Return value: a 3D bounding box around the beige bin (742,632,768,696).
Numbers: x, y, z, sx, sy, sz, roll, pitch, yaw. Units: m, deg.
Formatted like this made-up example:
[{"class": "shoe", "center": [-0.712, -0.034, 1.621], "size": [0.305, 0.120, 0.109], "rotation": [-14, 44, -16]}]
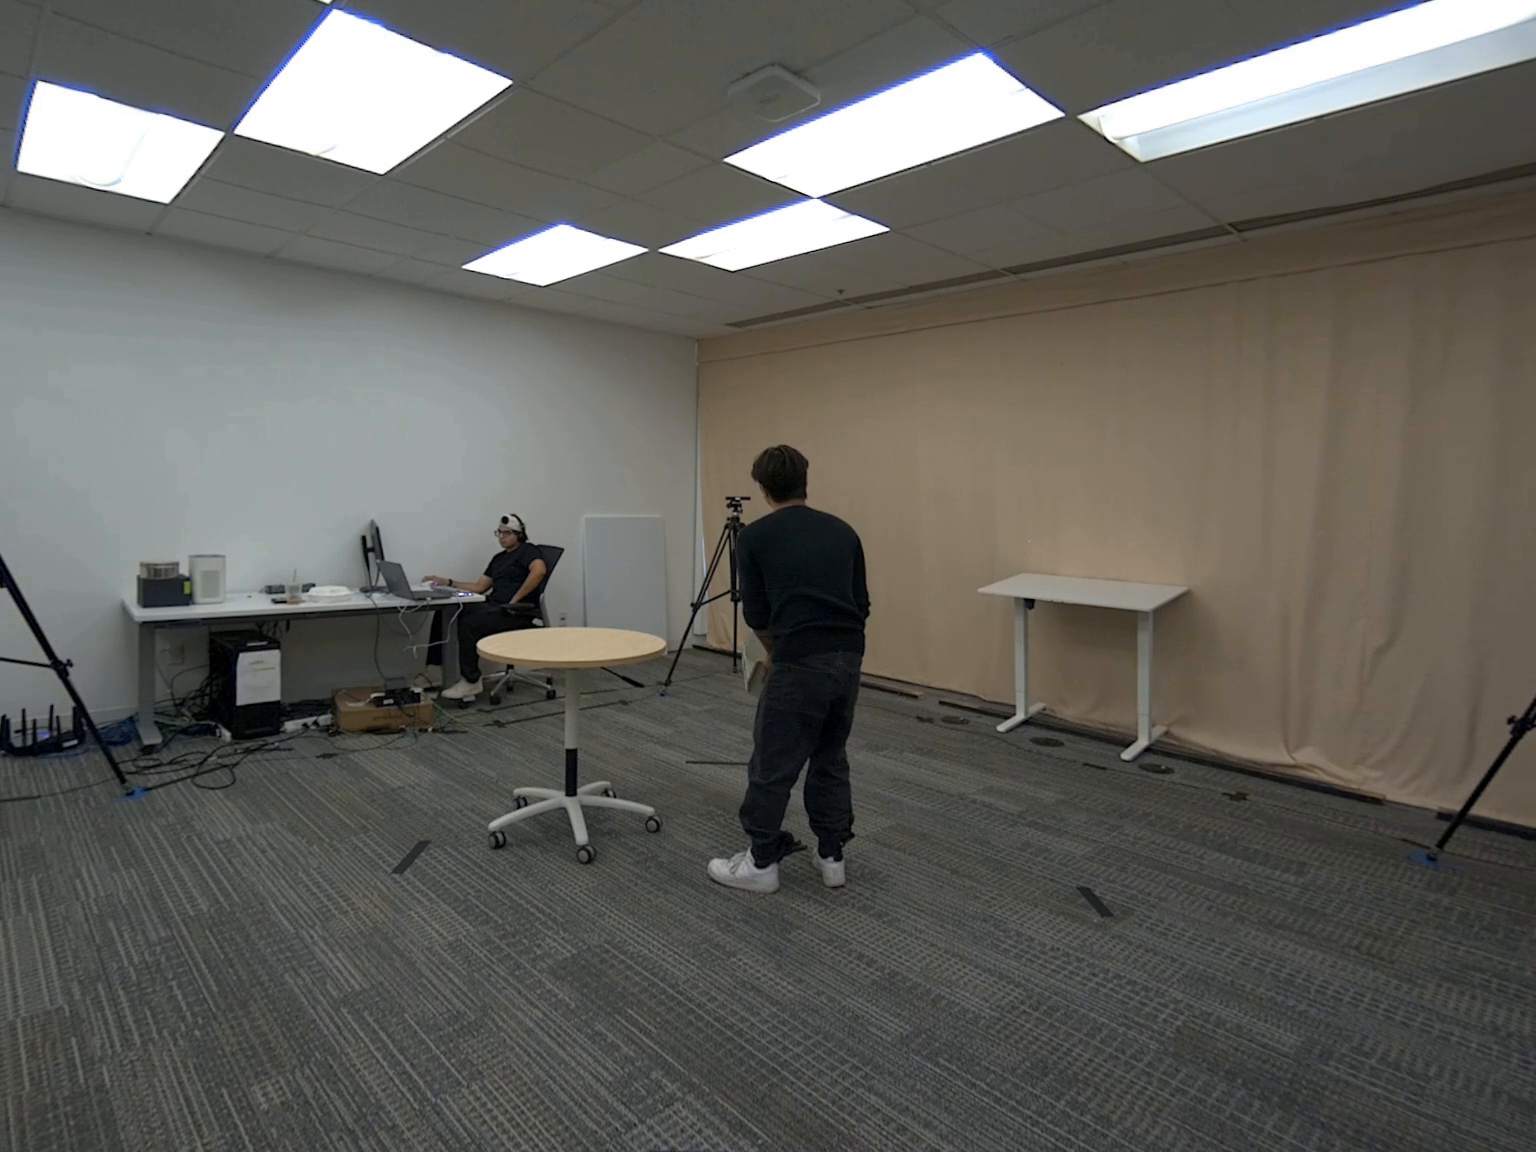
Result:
[{"class": "beige bin", "center": [0.084, 0.368, 3.535], "size": [0.376, 0.187, 0.427], "rotation": [2, 14, -5]}]
